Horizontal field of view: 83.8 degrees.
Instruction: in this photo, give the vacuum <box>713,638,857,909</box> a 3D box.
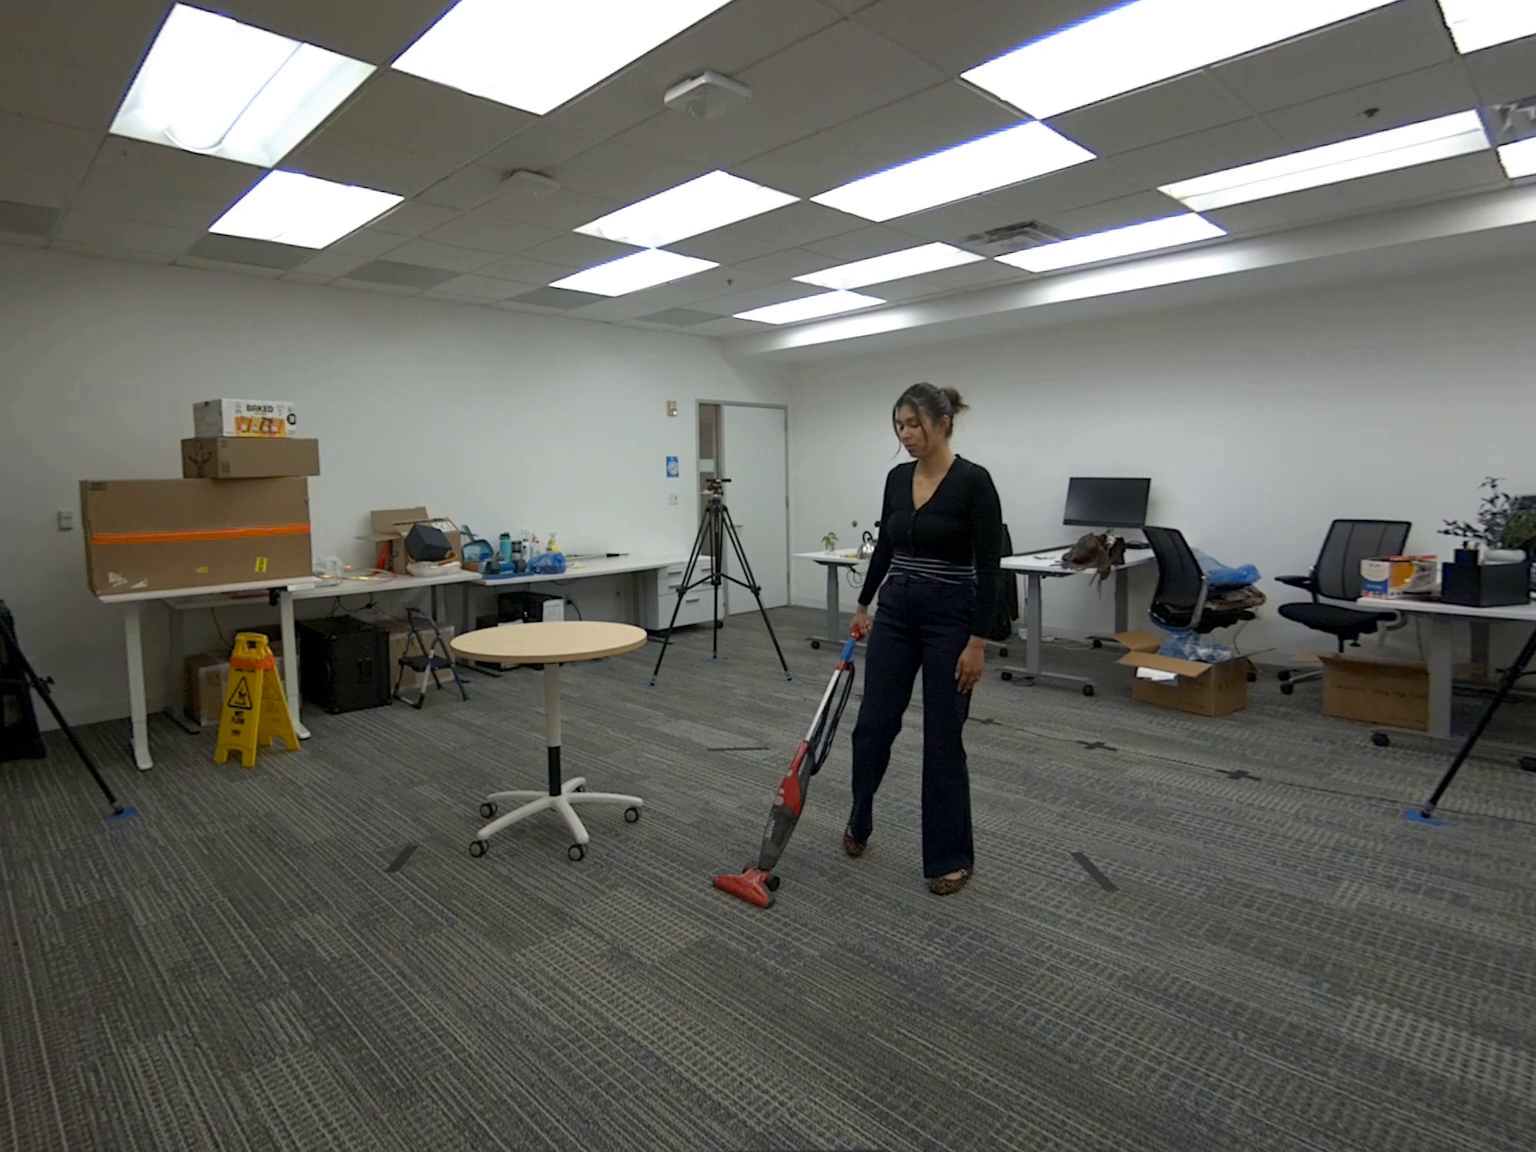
[{"bbox_3d":[0.147,0.639,3.097,0.260,1.058,0.138,3,-32,42],"label":"vacuum"}]
